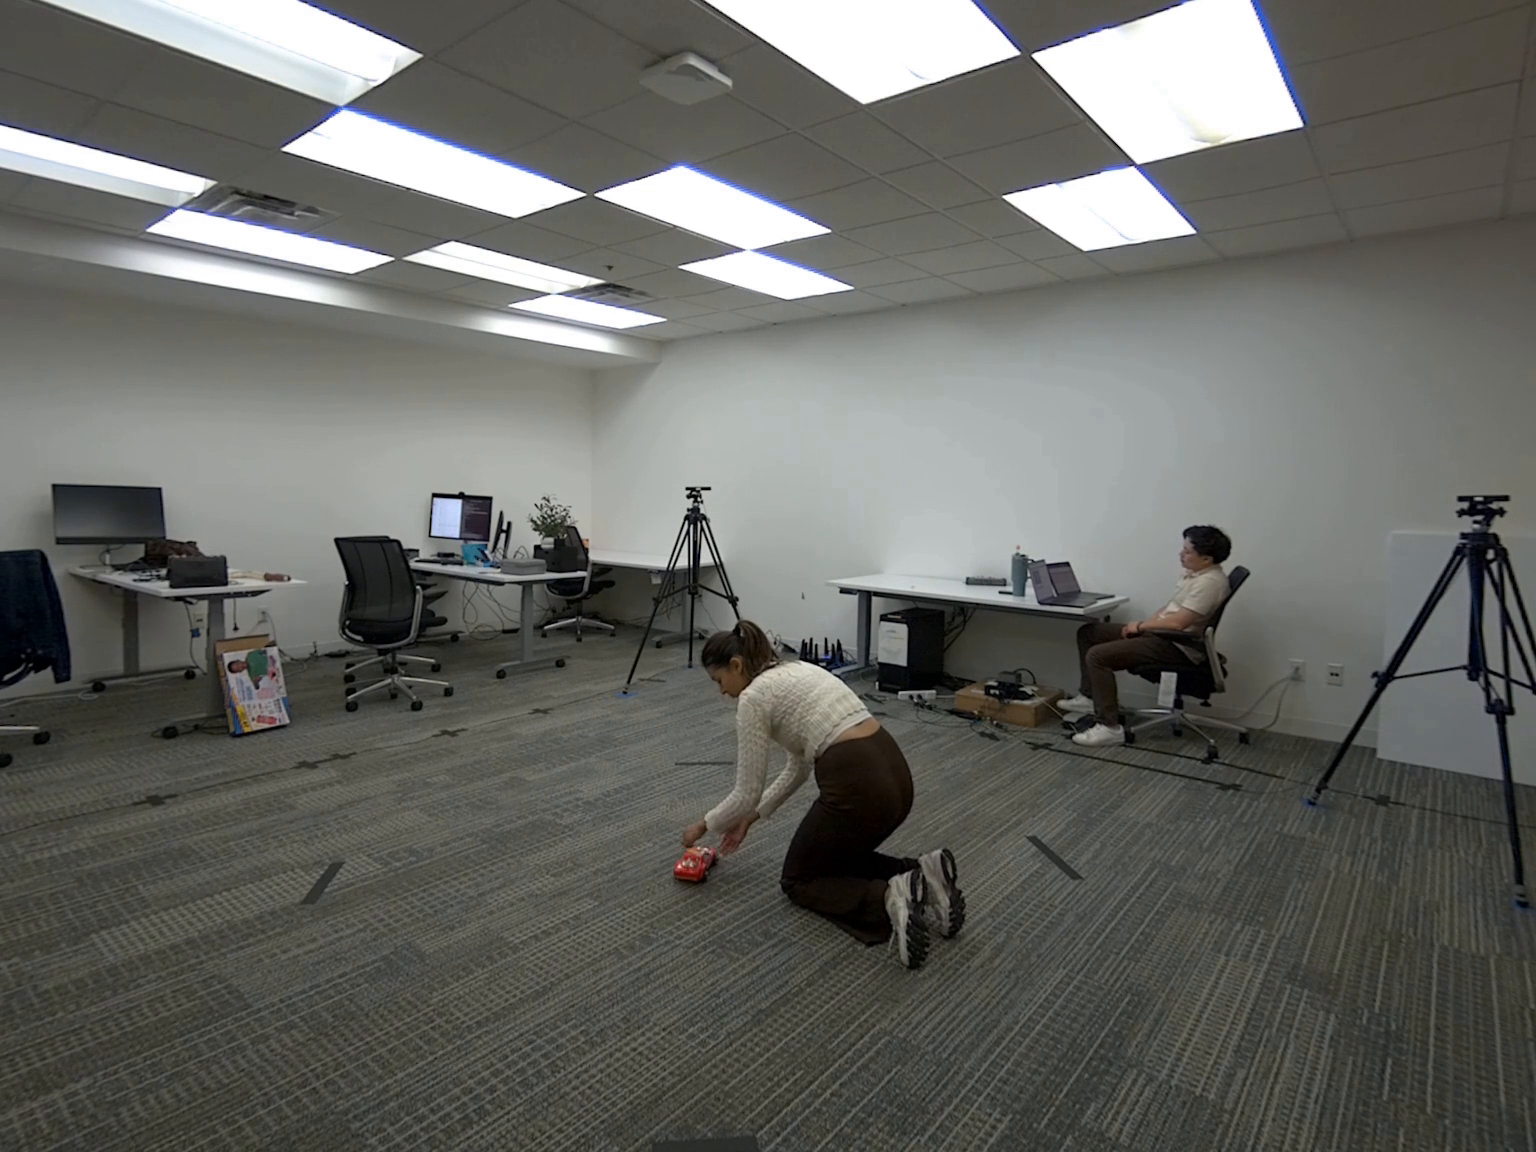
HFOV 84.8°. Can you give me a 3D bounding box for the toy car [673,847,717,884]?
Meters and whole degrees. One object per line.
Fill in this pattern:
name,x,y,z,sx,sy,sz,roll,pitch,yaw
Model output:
toy car,-0.275,1.039,3.067,0.132,0.084,0.249,2,-5,14
